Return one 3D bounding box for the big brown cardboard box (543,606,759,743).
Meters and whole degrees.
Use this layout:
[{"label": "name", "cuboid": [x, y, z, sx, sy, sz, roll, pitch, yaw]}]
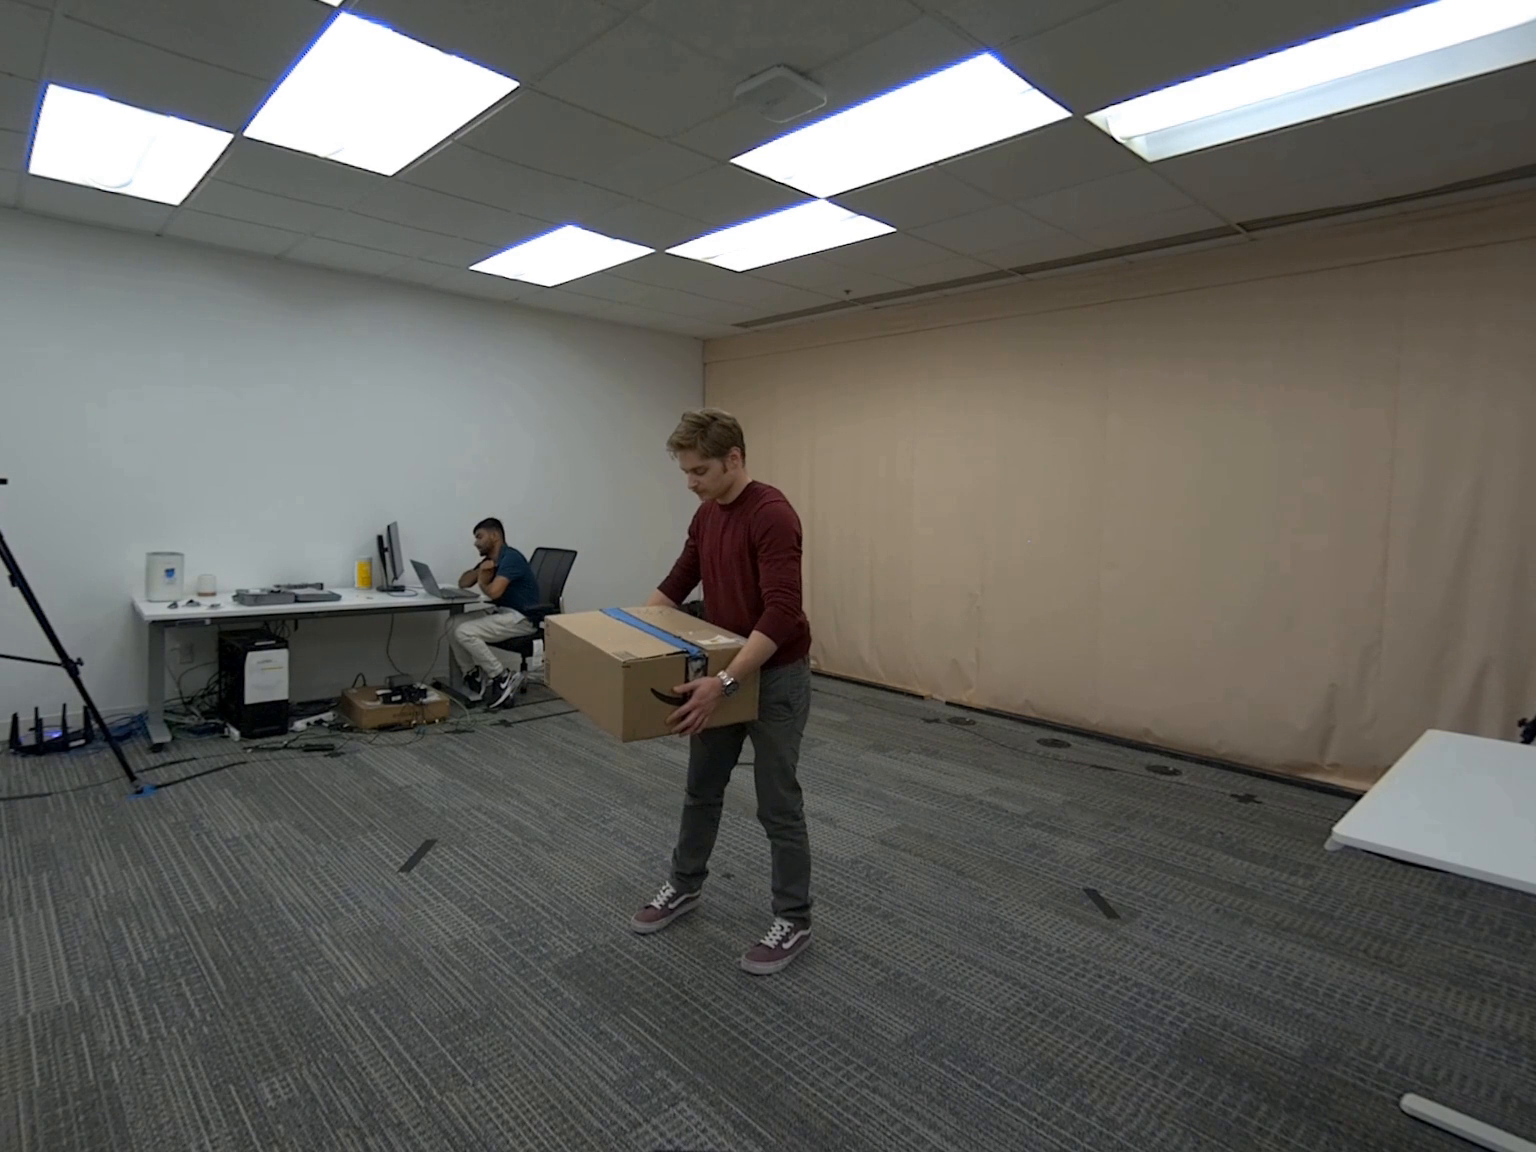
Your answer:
[{"label": "big brown cardboard box", "cuboid": [-0.354, 0.262, 2.444, 0.409, 0.232, 0.604, -4, 10, -35]}]
